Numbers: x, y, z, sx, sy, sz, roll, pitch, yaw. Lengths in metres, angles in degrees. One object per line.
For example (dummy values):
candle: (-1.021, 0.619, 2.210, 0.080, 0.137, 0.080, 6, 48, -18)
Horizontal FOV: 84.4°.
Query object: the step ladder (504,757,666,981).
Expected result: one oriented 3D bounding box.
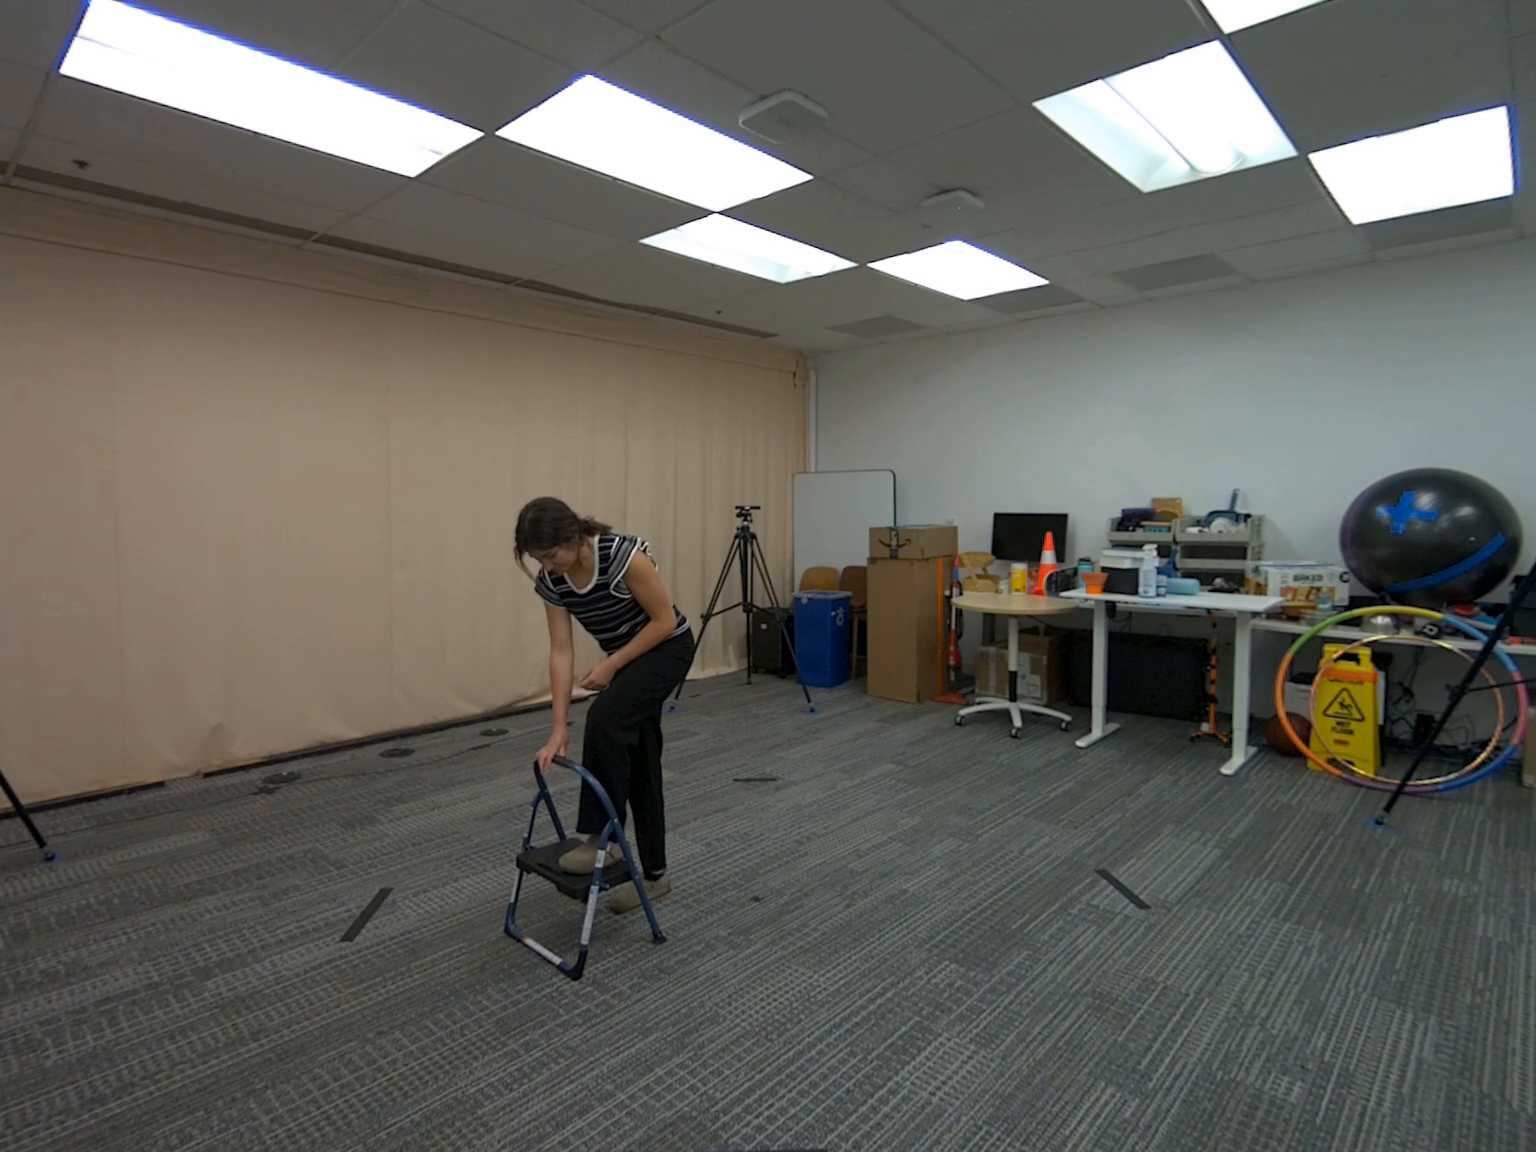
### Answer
step ladder: (-0.604, 0.869, 2.718, 0.445, 0.605, 0.338, 2, 2, 43)
